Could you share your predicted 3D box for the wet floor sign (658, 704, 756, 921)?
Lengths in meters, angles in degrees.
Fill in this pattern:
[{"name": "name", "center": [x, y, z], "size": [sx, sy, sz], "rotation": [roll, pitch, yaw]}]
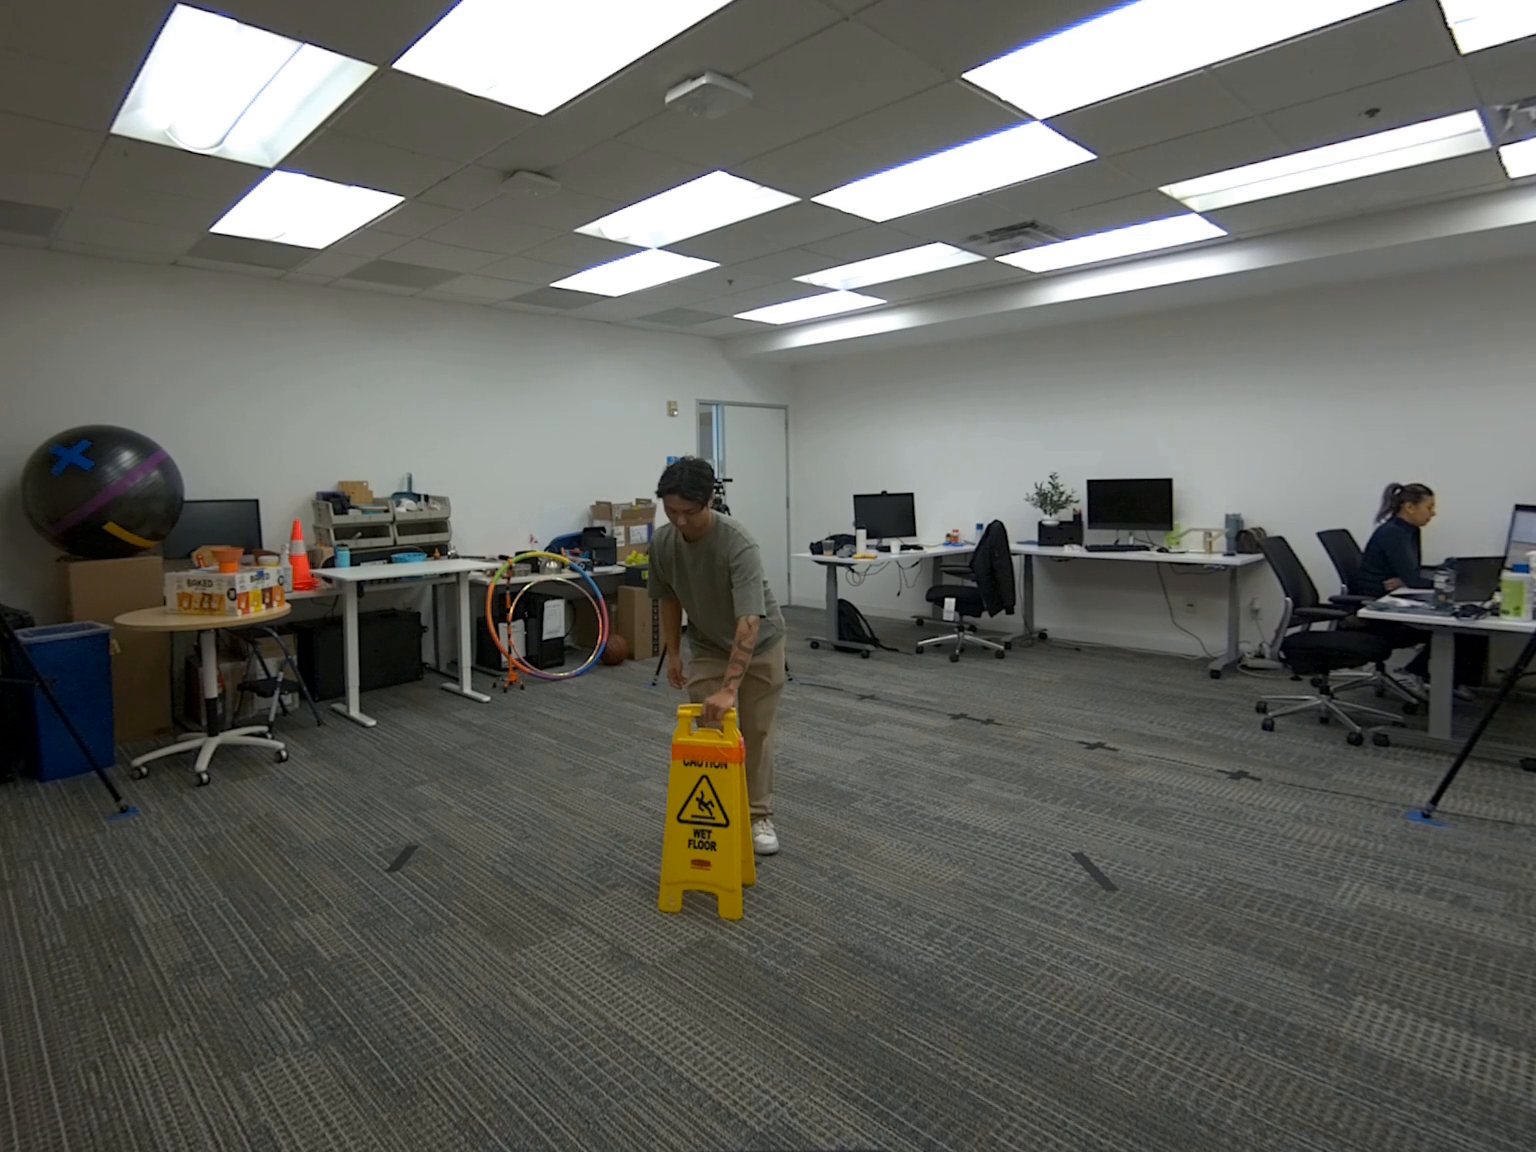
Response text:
[{"name": "wet floor sign", "center": [-0.200, 0.760, 2.835], "size": [0.286, 0.643, 0.288], "rotation": [-1, 5, 12]}]
